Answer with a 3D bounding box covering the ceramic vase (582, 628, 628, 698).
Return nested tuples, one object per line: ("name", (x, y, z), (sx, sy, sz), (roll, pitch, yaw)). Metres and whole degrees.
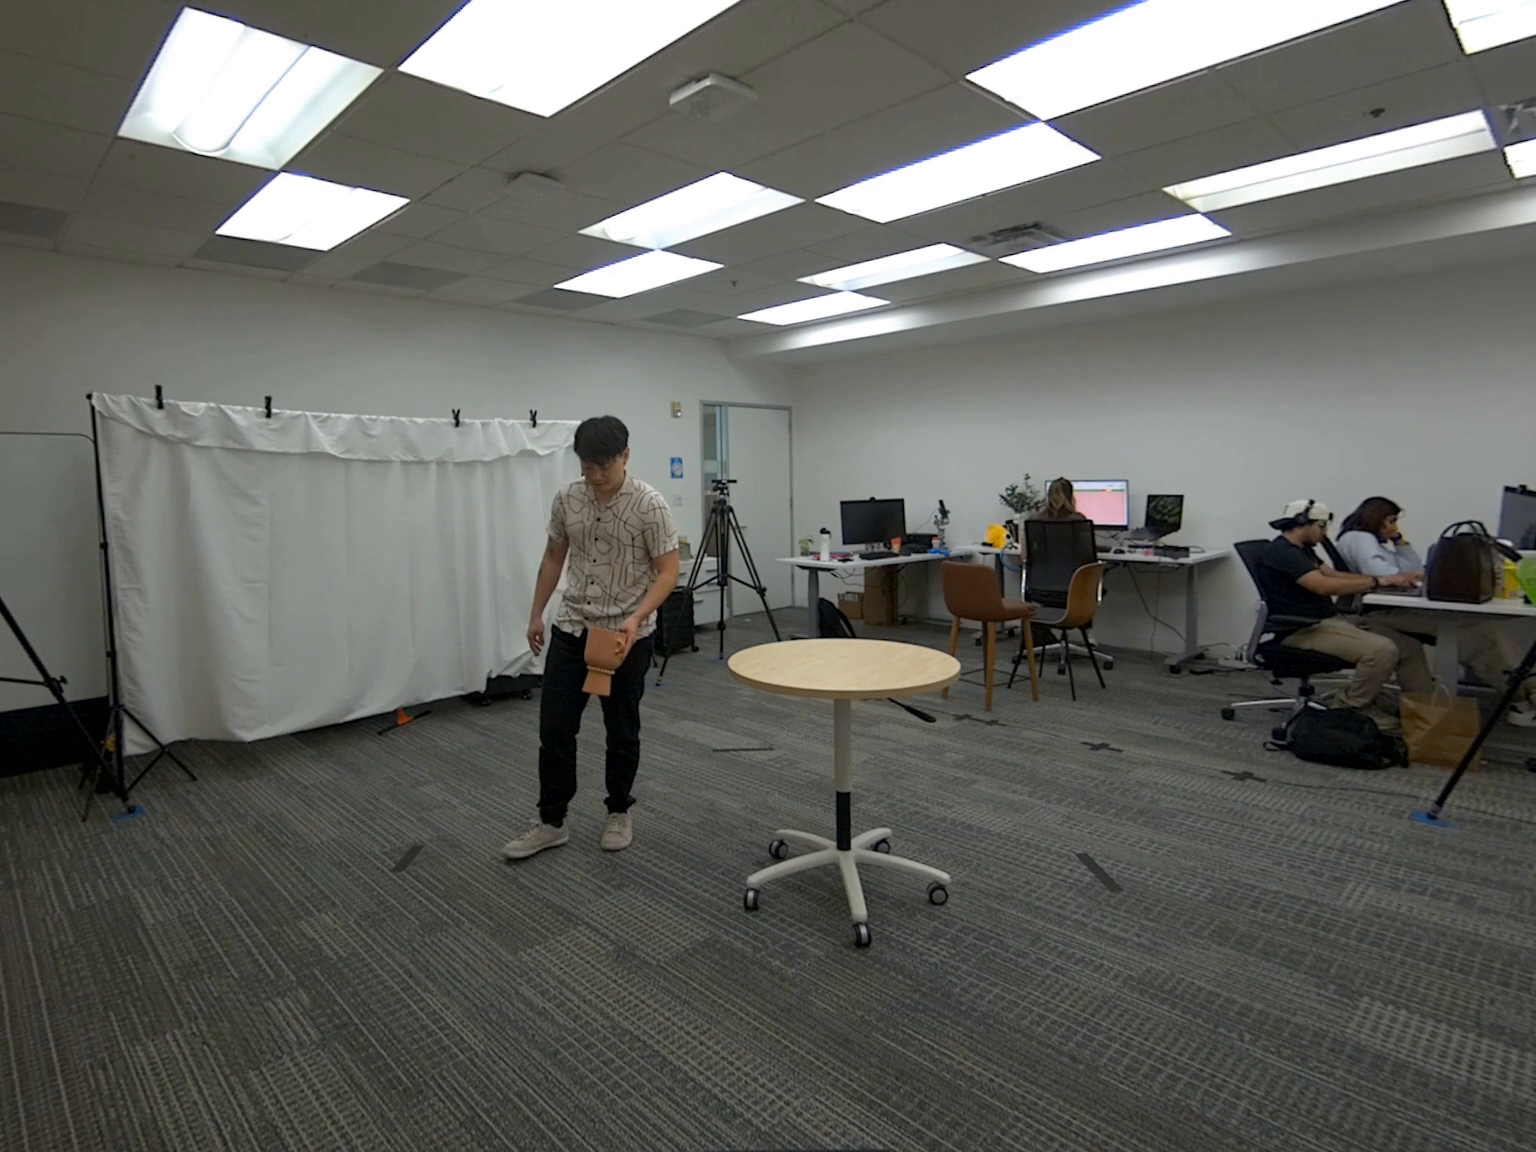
("ceramic vase", (-0.577, 0.303, 2.980), (0.133, 0.221, 0.159), (10, -7, -10))
